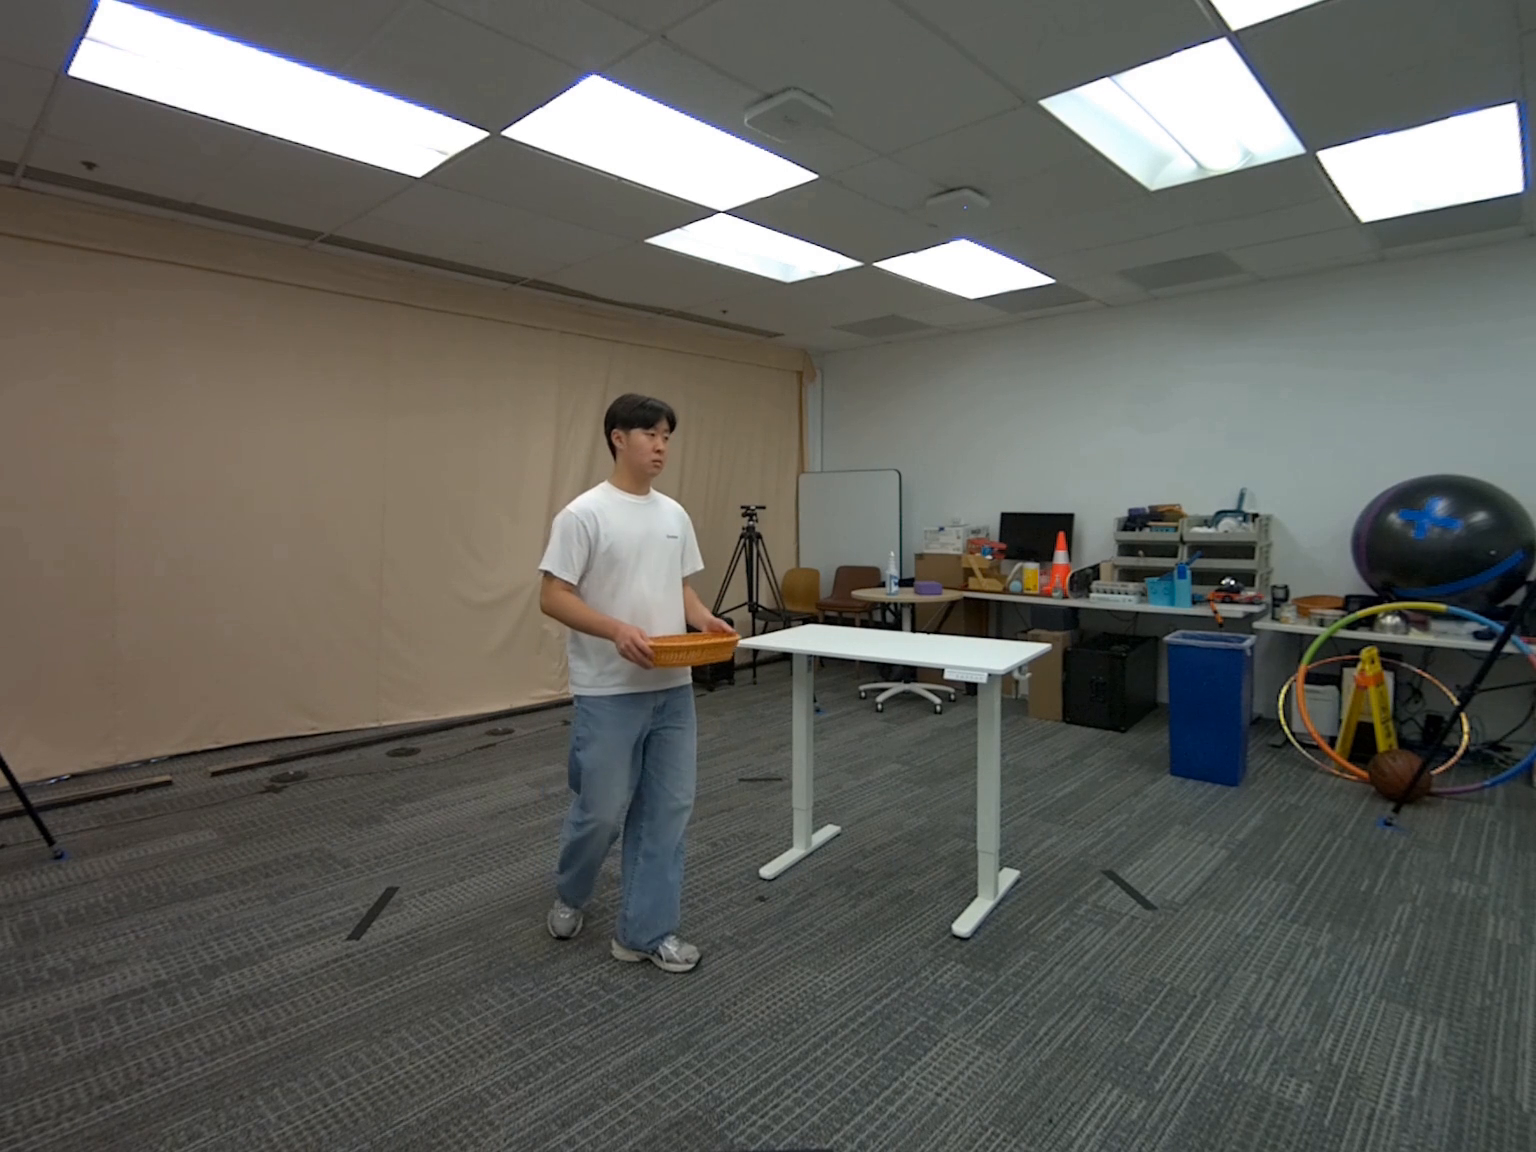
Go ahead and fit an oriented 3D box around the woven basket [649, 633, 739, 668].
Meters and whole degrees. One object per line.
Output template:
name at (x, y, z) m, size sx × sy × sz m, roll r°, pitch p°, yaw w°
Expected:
woven basket at (-0.273, 0.218, 2.444) m, size 0.339 × 0.073 × 0.260 m, roll -2°, pitch 3°, yaw -40°
